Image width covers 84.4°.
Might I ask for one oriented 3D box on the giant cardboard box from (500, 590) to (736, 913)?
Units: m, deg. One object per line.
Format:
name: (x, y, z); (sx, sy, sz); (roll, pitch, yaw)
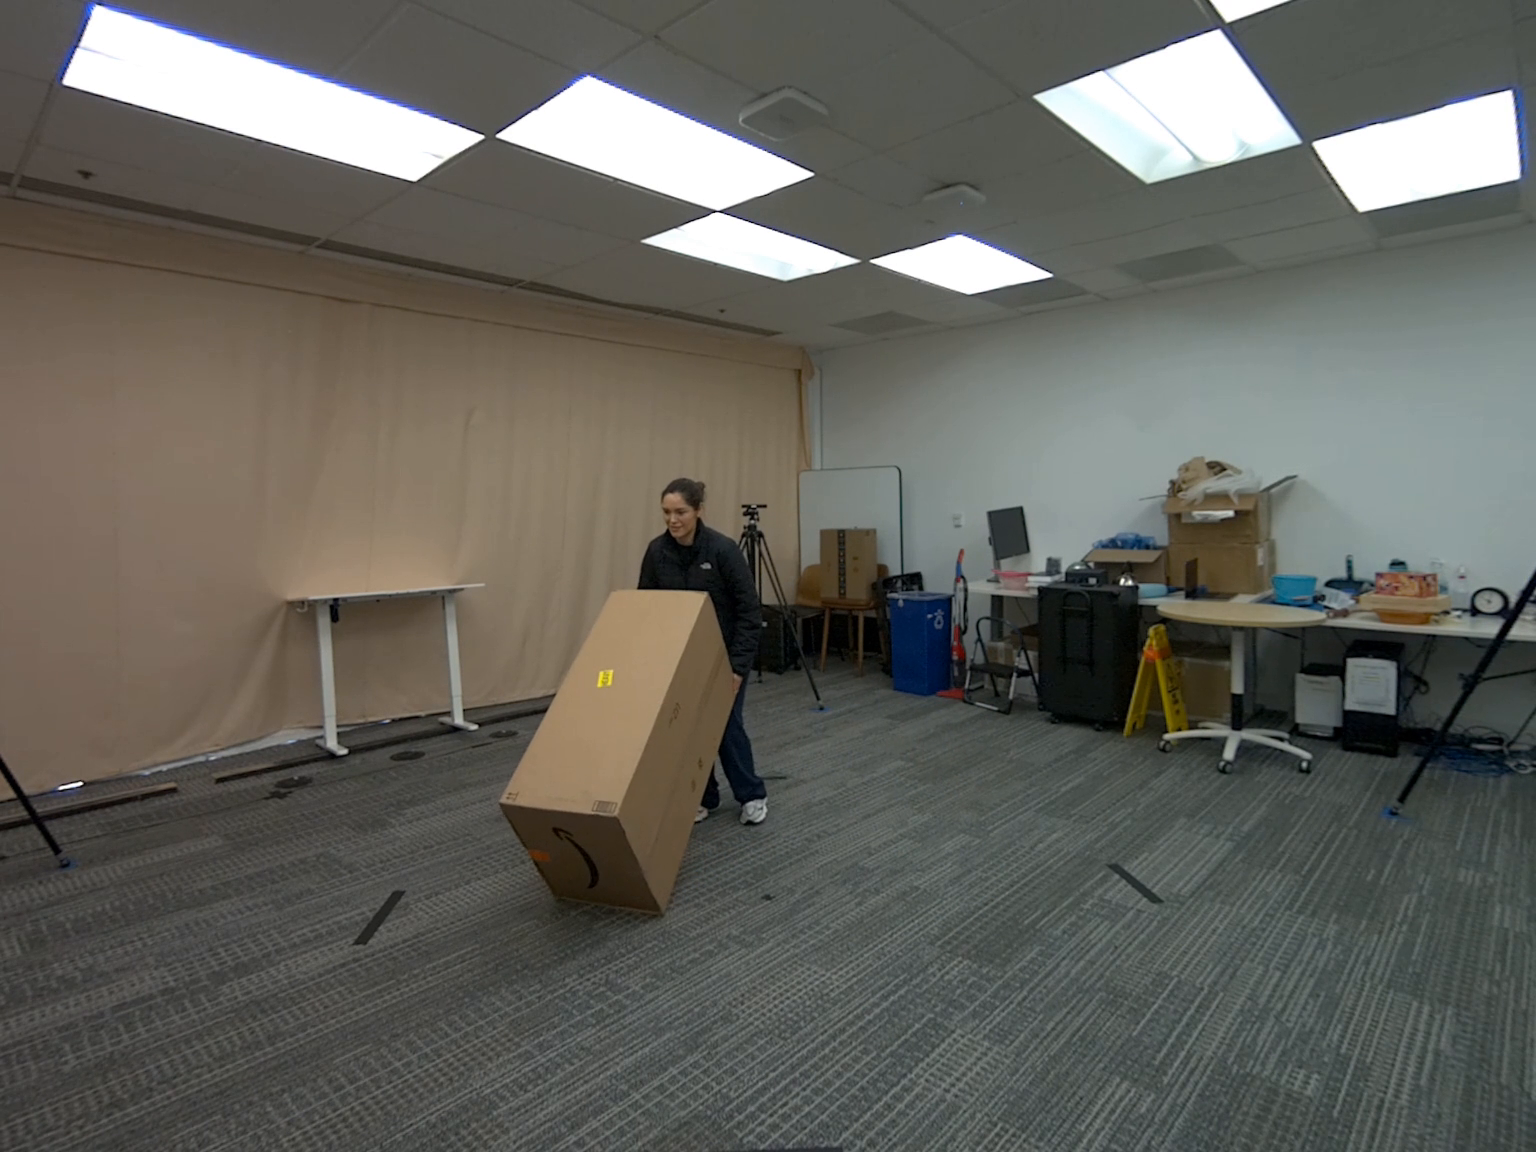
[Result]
giant cardboard box: (-0.487, 0.603, 3.143); (0.456, 0.569, 1.033); (-1, 39, 18)
